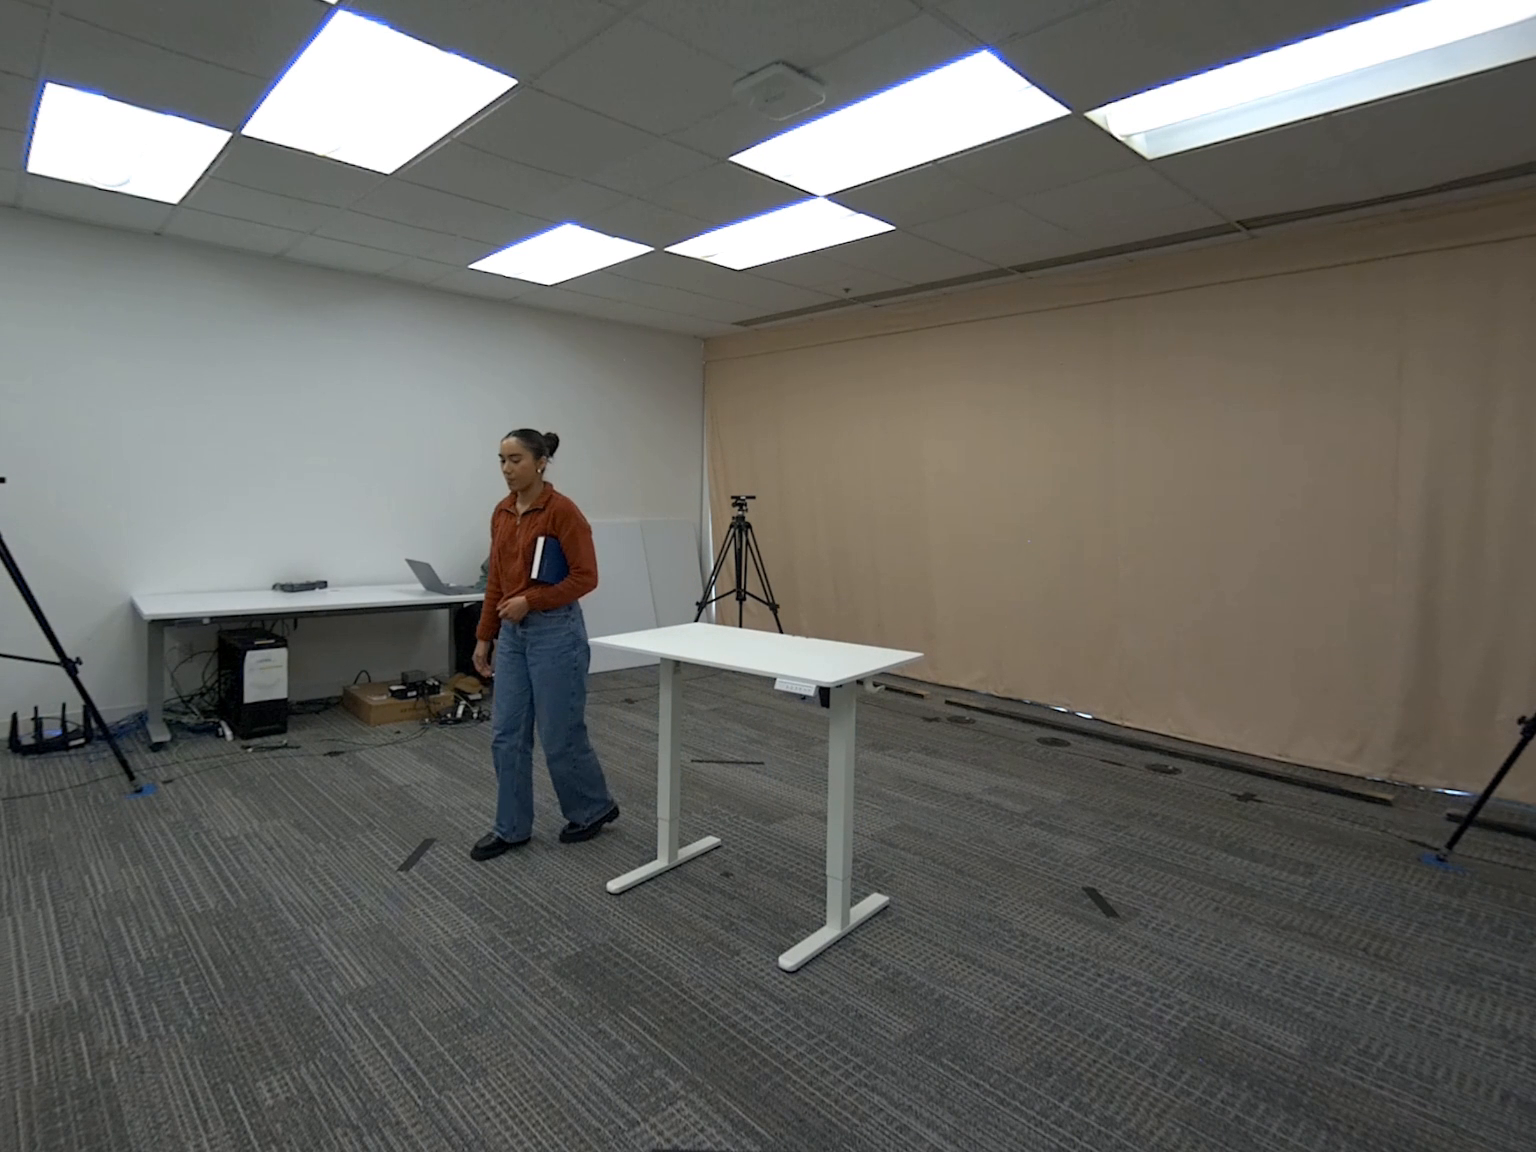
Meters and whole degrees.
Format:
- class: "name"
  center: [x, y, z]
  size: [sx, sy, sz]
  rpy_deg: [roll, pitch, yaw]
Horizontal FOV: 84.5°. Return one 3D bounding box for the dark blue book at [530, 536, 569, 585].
- class: "dark blue book"
  center: [-0.779, -0.052, 3.162]
  size: [0.046, 0.164, 0.238]
  rpy_deg: [2, -9, 36]
